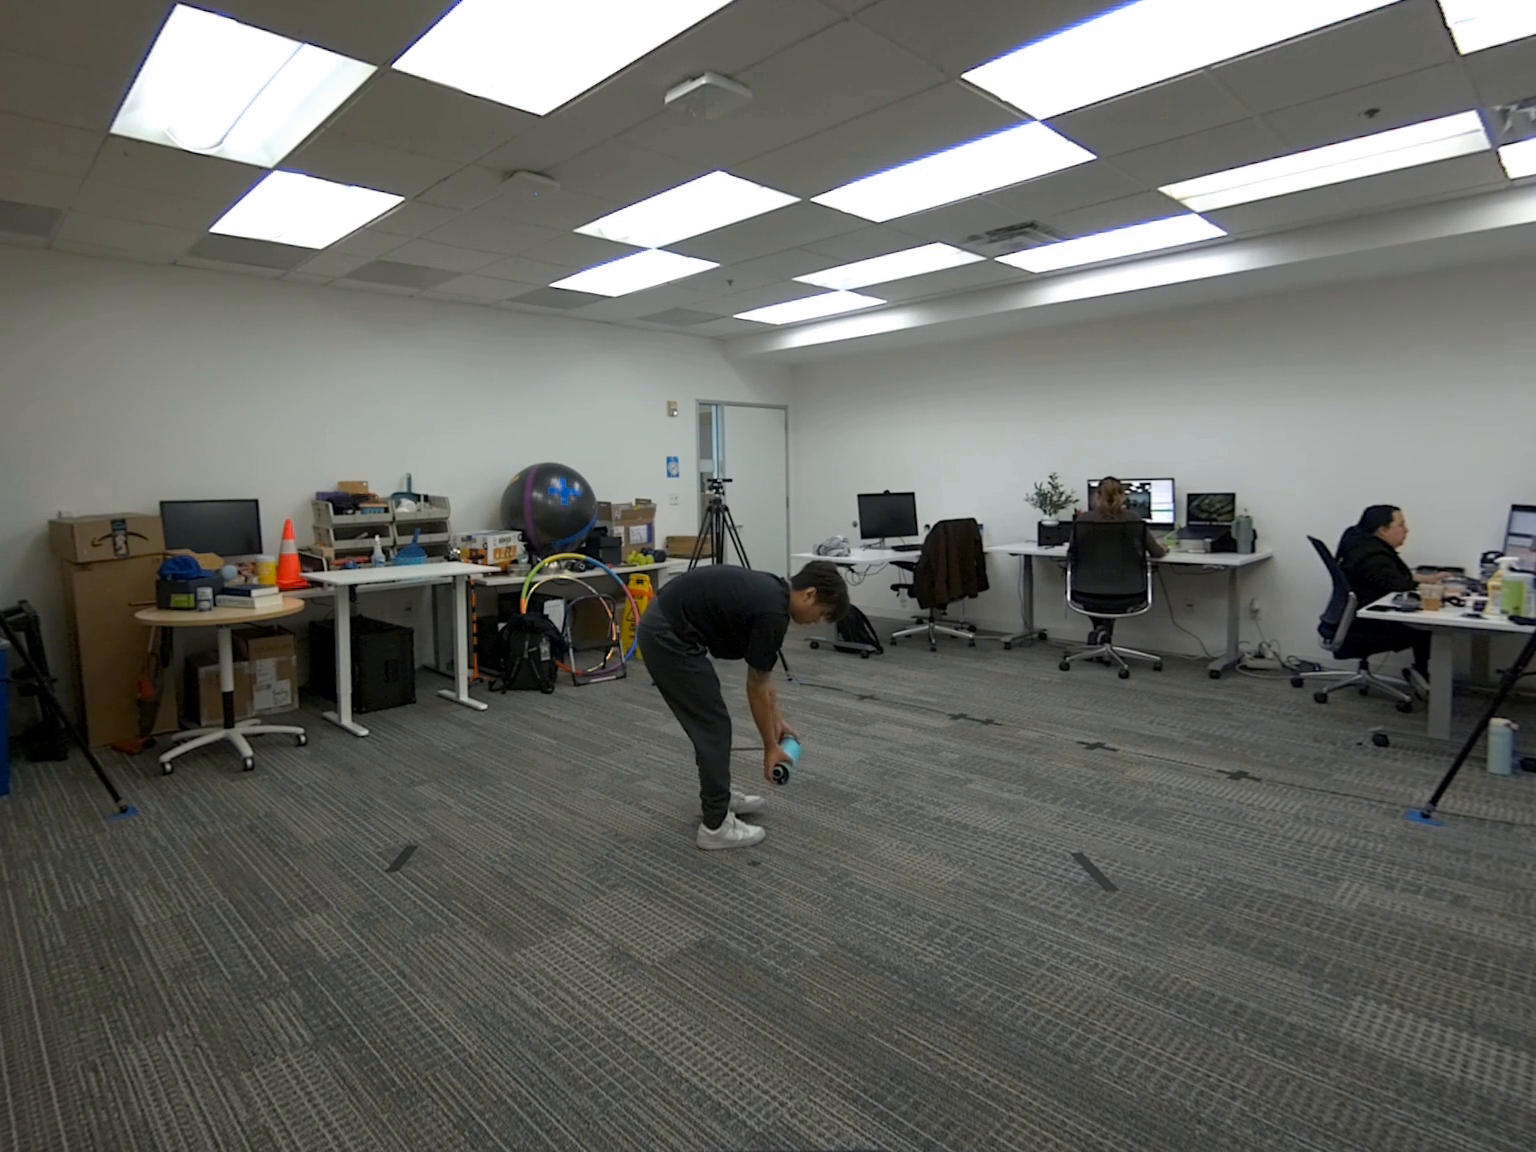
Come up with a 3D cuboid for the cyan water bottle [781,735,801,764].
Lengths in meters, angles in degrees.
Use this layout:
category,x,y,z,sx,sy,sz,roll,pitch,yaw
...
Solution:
category,x,y,z,sx,sy,sz,roll,pitch,yaw
cyan water bottle,0.046,0.739,3.361,0.093,0.091,0.284,0,12,8
